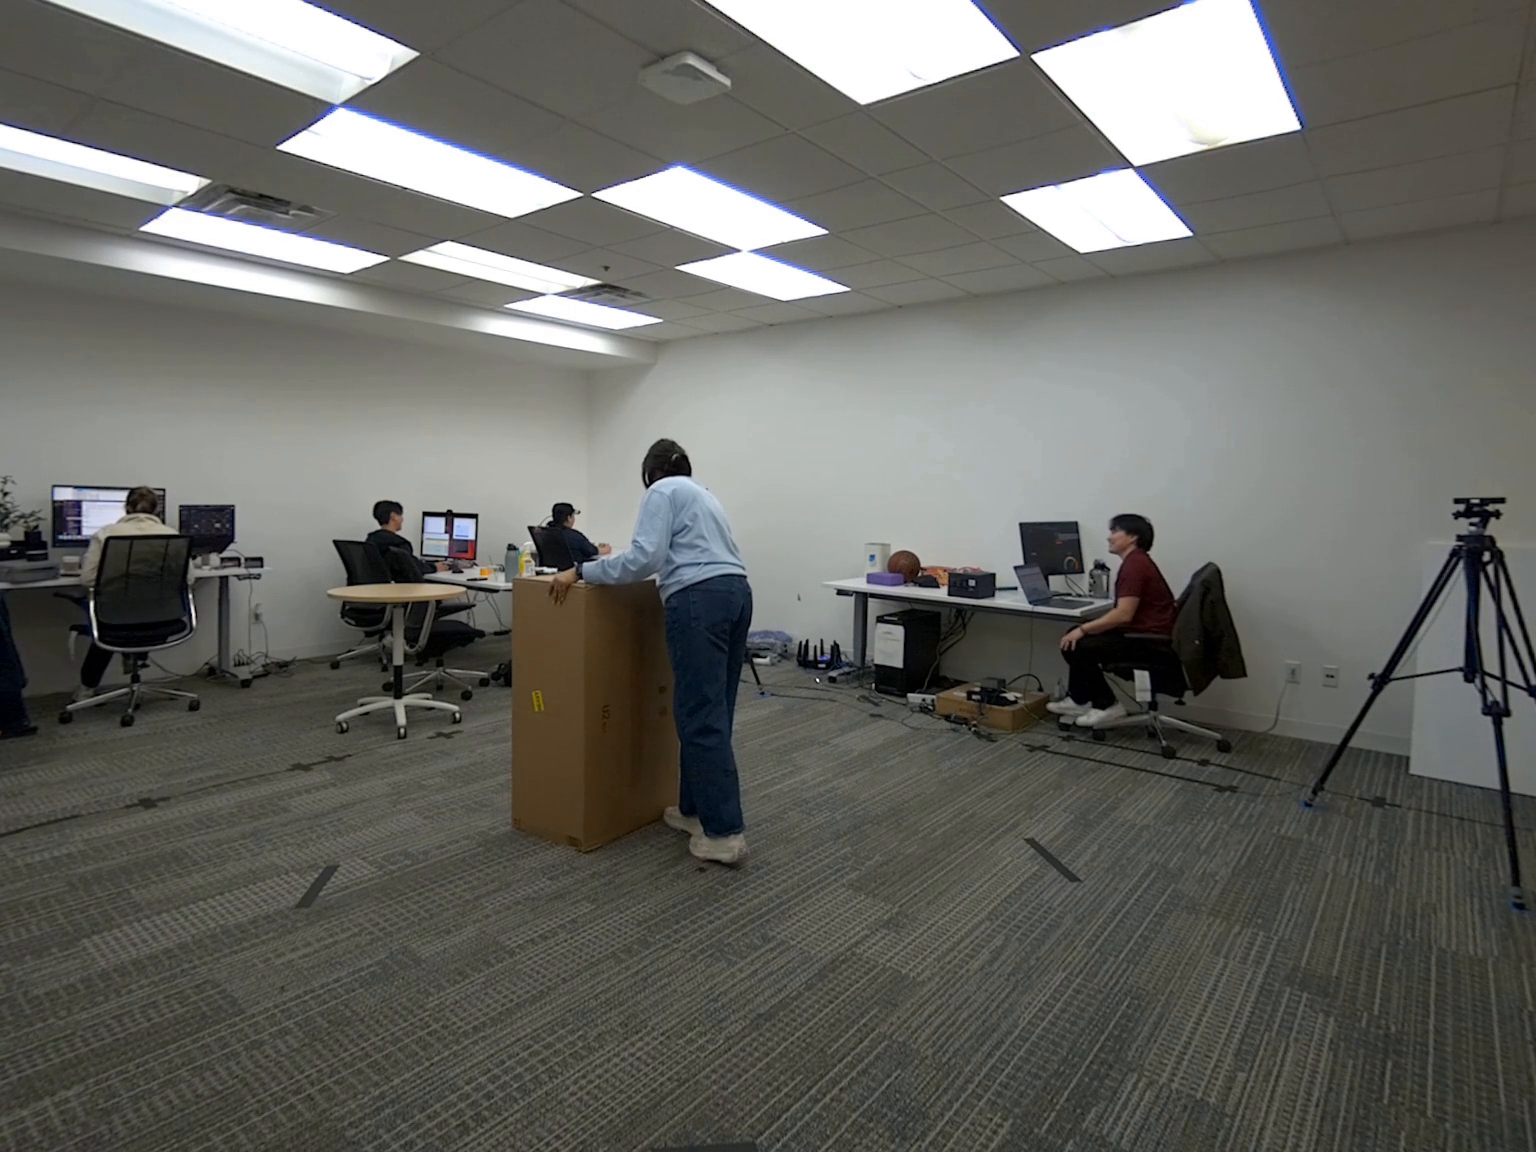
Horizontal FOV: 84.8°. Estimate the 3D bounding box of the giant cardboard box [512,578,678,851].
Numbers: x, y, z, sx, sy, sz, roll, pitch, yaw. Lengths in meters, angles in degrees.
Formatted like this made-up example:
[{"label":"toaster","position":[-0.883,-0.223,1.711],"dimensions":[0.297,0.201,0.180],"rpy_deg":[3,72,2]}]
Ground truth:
[{"label":"giant cardboard box","position":[-0.729,0.510,3.562],"dimensions":[0.461,1.025,0.567],"rpy_deg":[2,3,36]}]
